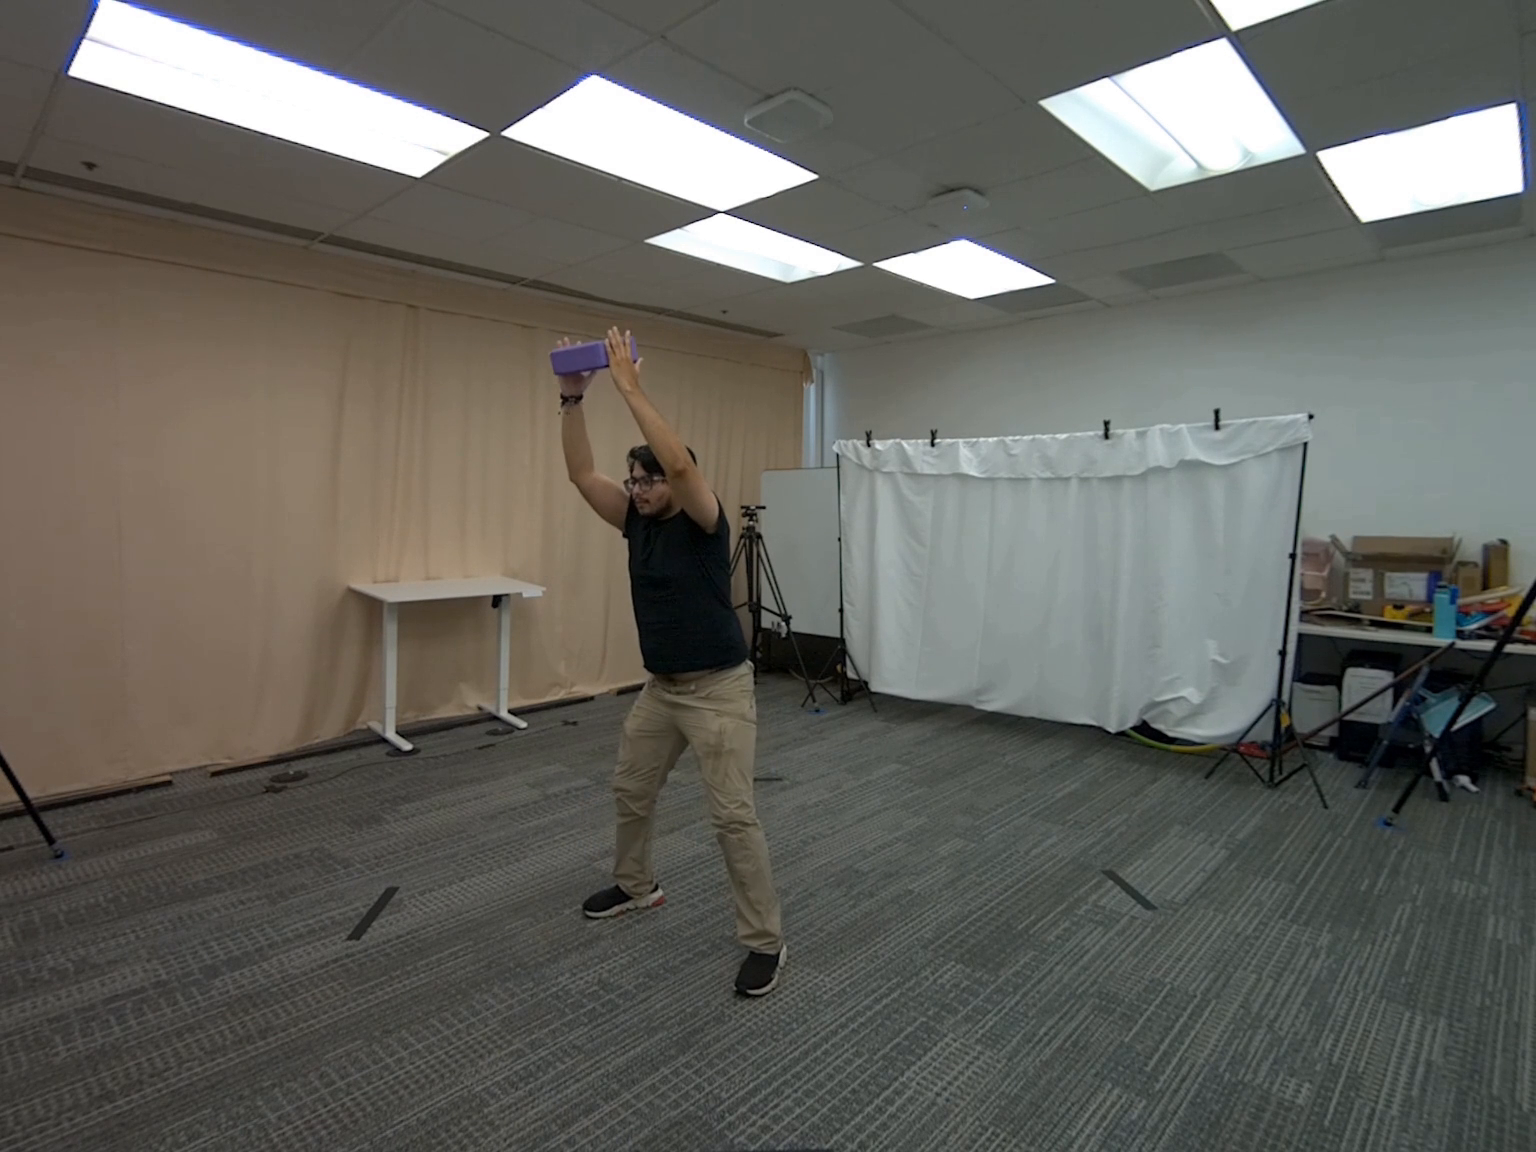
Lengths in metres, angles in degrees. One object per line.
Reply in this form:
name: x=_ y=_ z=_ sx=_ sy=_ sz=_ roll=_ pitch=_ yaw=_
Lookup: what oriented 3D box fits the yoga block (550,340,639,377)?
yoga block: x=-0.496 y=-0.631 z=2.439 sx=0.237 sy=0.075 sz=0.146 roll=6 pitch=22 yaw=42
